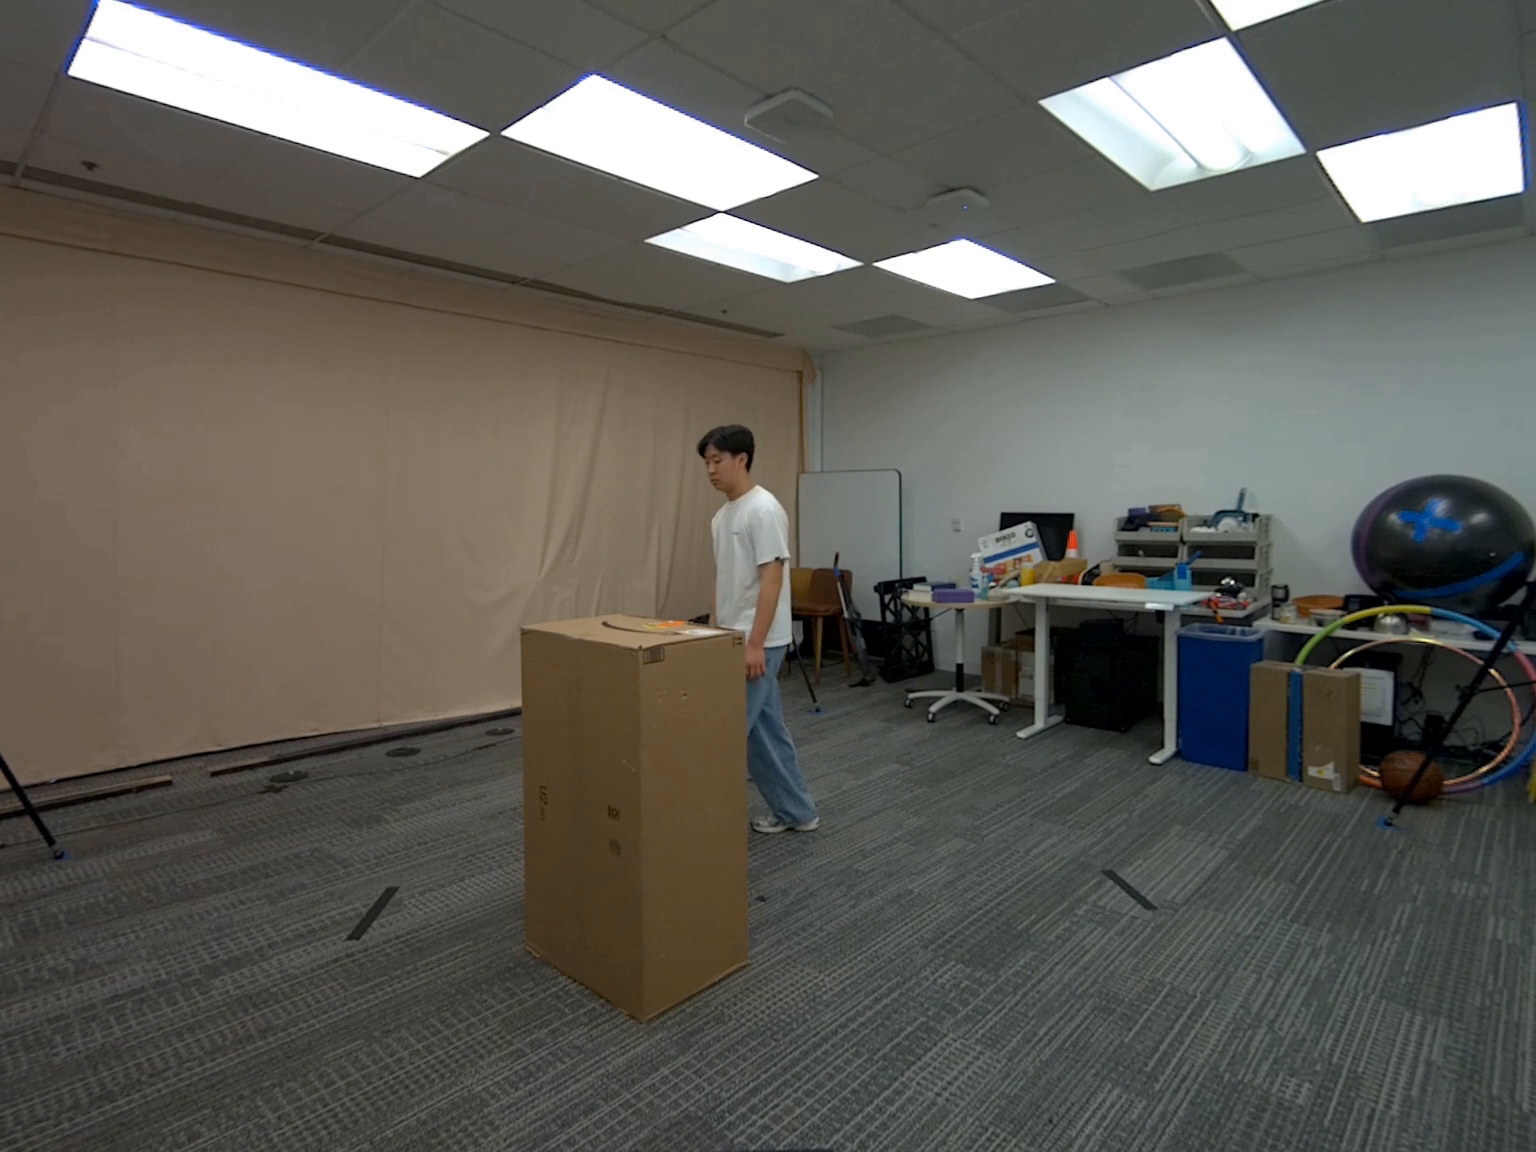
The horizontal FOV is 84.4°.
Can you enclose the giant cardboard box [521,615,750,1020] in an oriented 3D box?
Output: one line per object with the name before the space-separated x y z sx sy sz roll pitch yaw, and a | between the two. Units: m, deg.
giant cardboard box | -0.417 0.673 2.583 0.597 1.024 0.413 3 4 43
